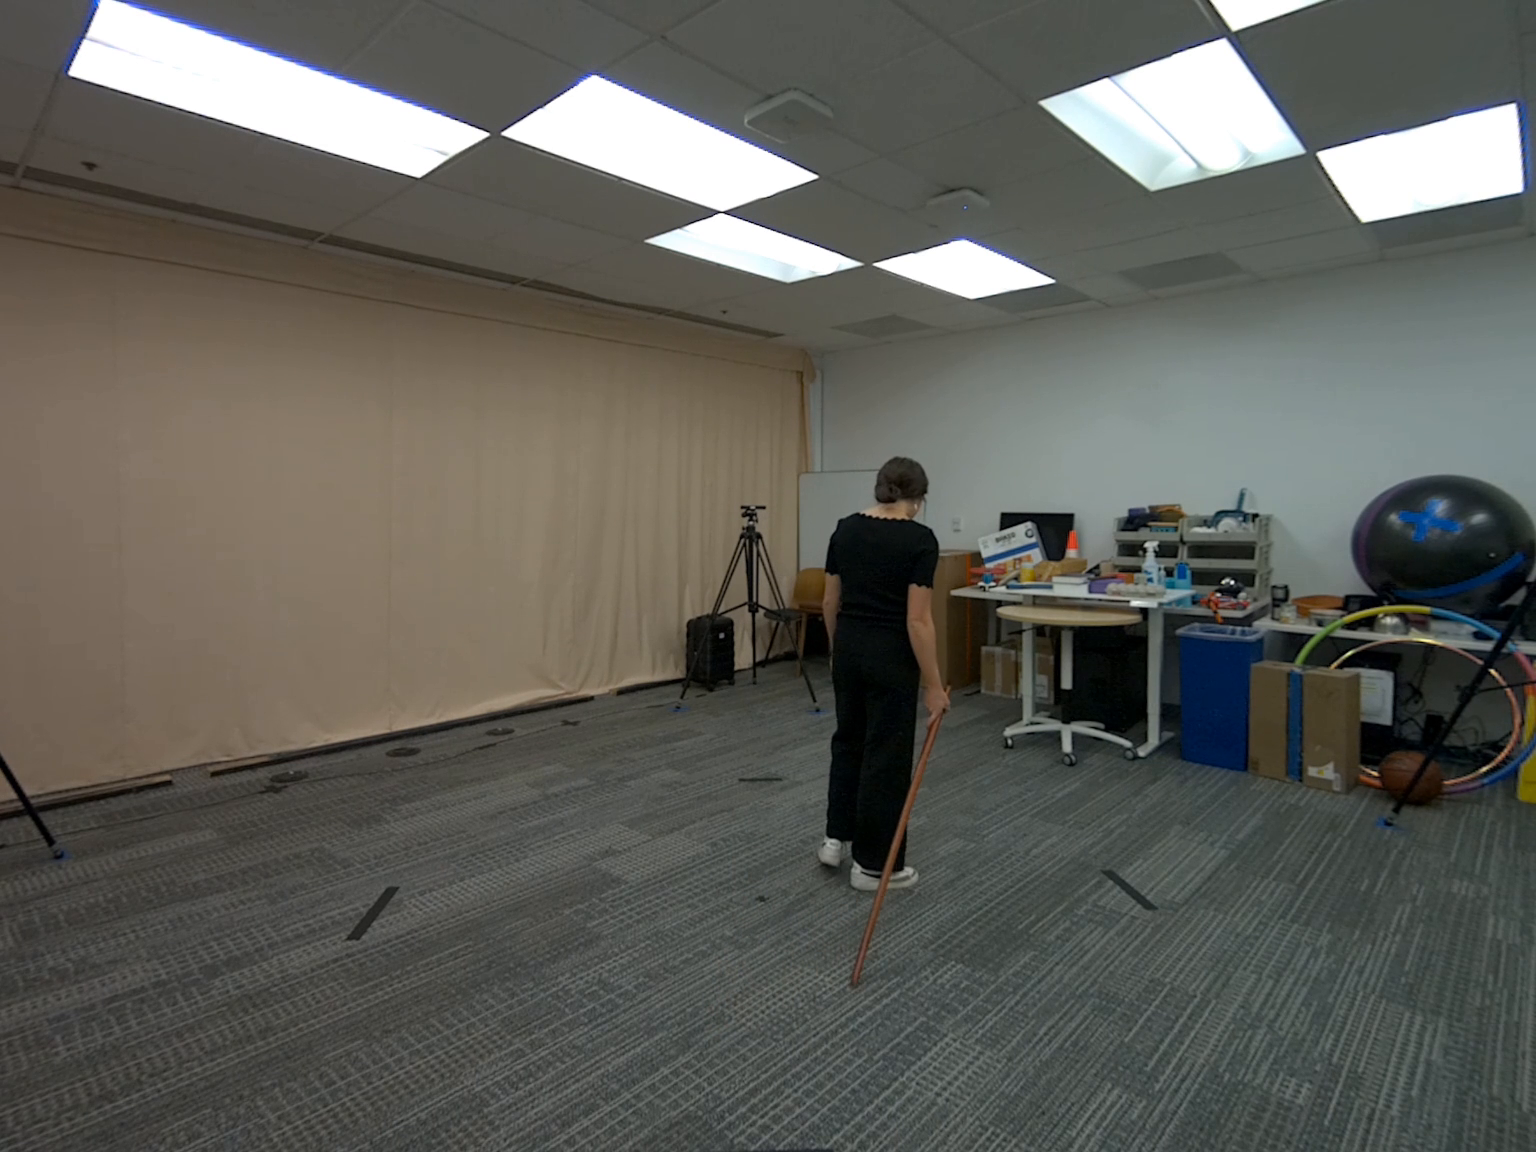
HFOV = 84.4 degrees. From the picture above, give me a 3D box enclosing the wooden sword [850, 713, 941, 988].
[{"bbox_3d":[0.436,0.798,2.703,0.052,1.025,0.024,24,-32,6],"label":"wooden sword"}]
